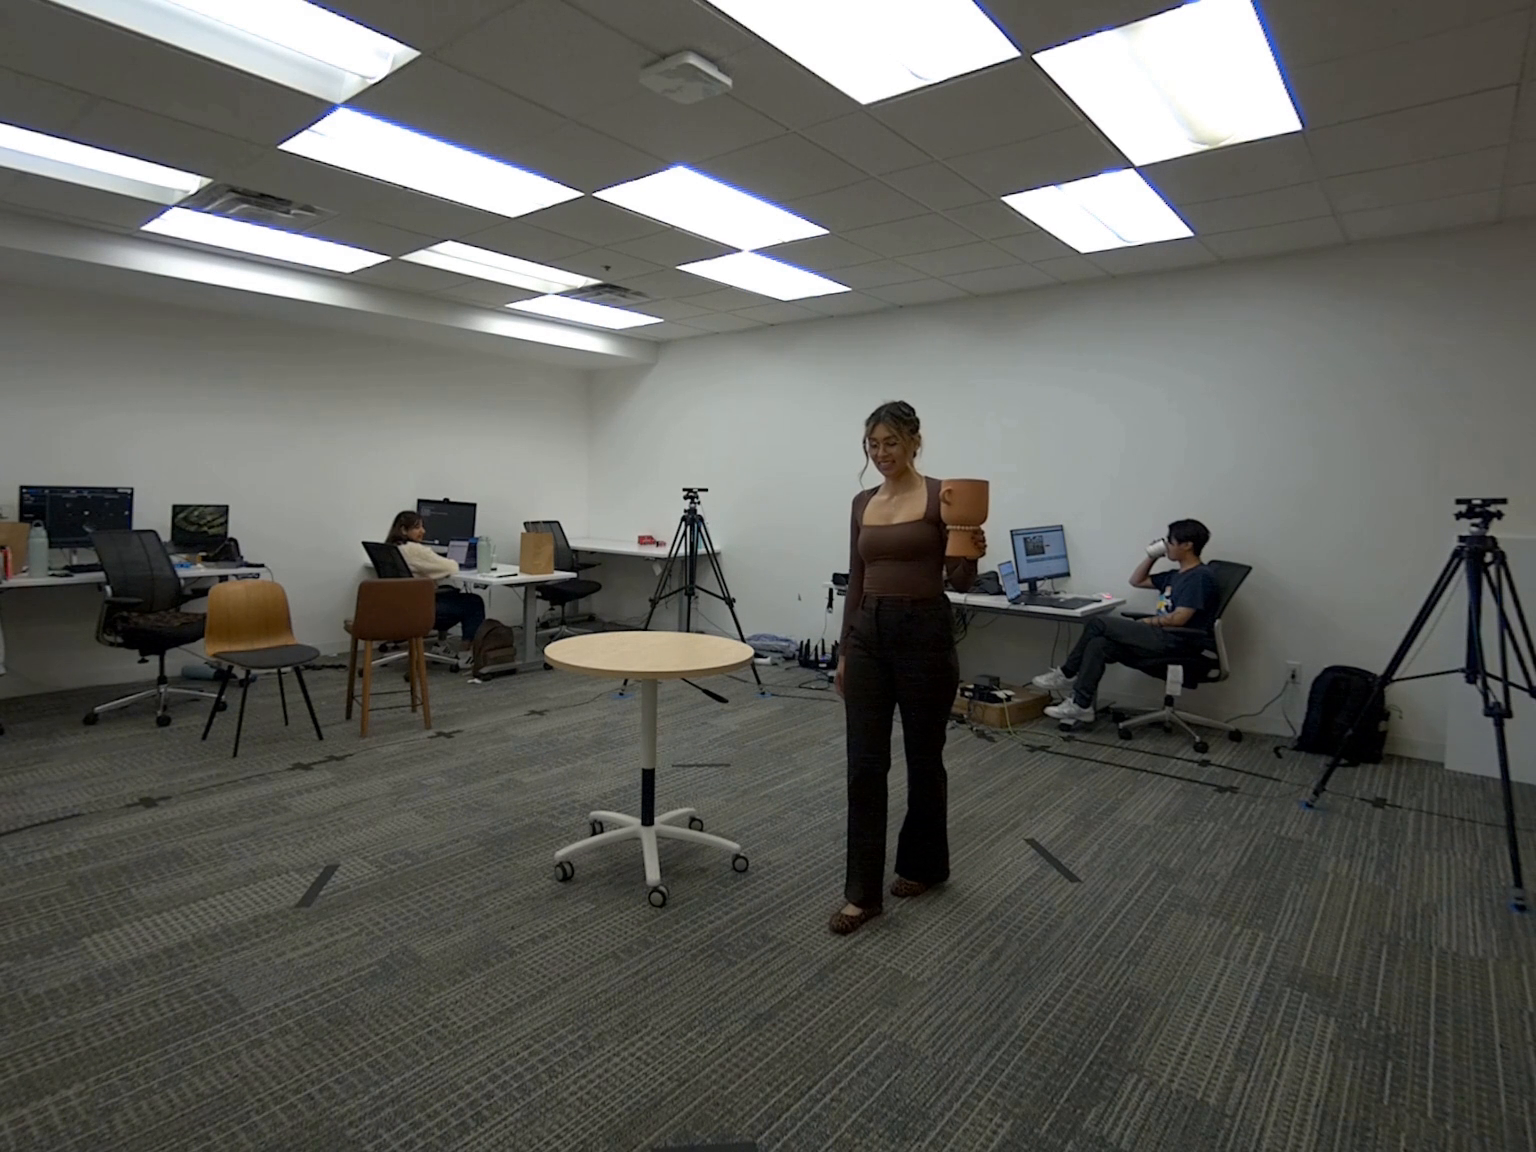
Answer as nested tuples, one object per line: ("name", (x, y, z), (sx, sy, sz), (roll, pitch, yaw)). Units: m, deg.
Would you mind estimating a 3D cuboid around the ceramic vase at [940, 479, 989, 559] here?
("ceramic vase", (0.566, -0.173, 2.480), (0.159, 0.220, 0.134), (3, -2, 2))
